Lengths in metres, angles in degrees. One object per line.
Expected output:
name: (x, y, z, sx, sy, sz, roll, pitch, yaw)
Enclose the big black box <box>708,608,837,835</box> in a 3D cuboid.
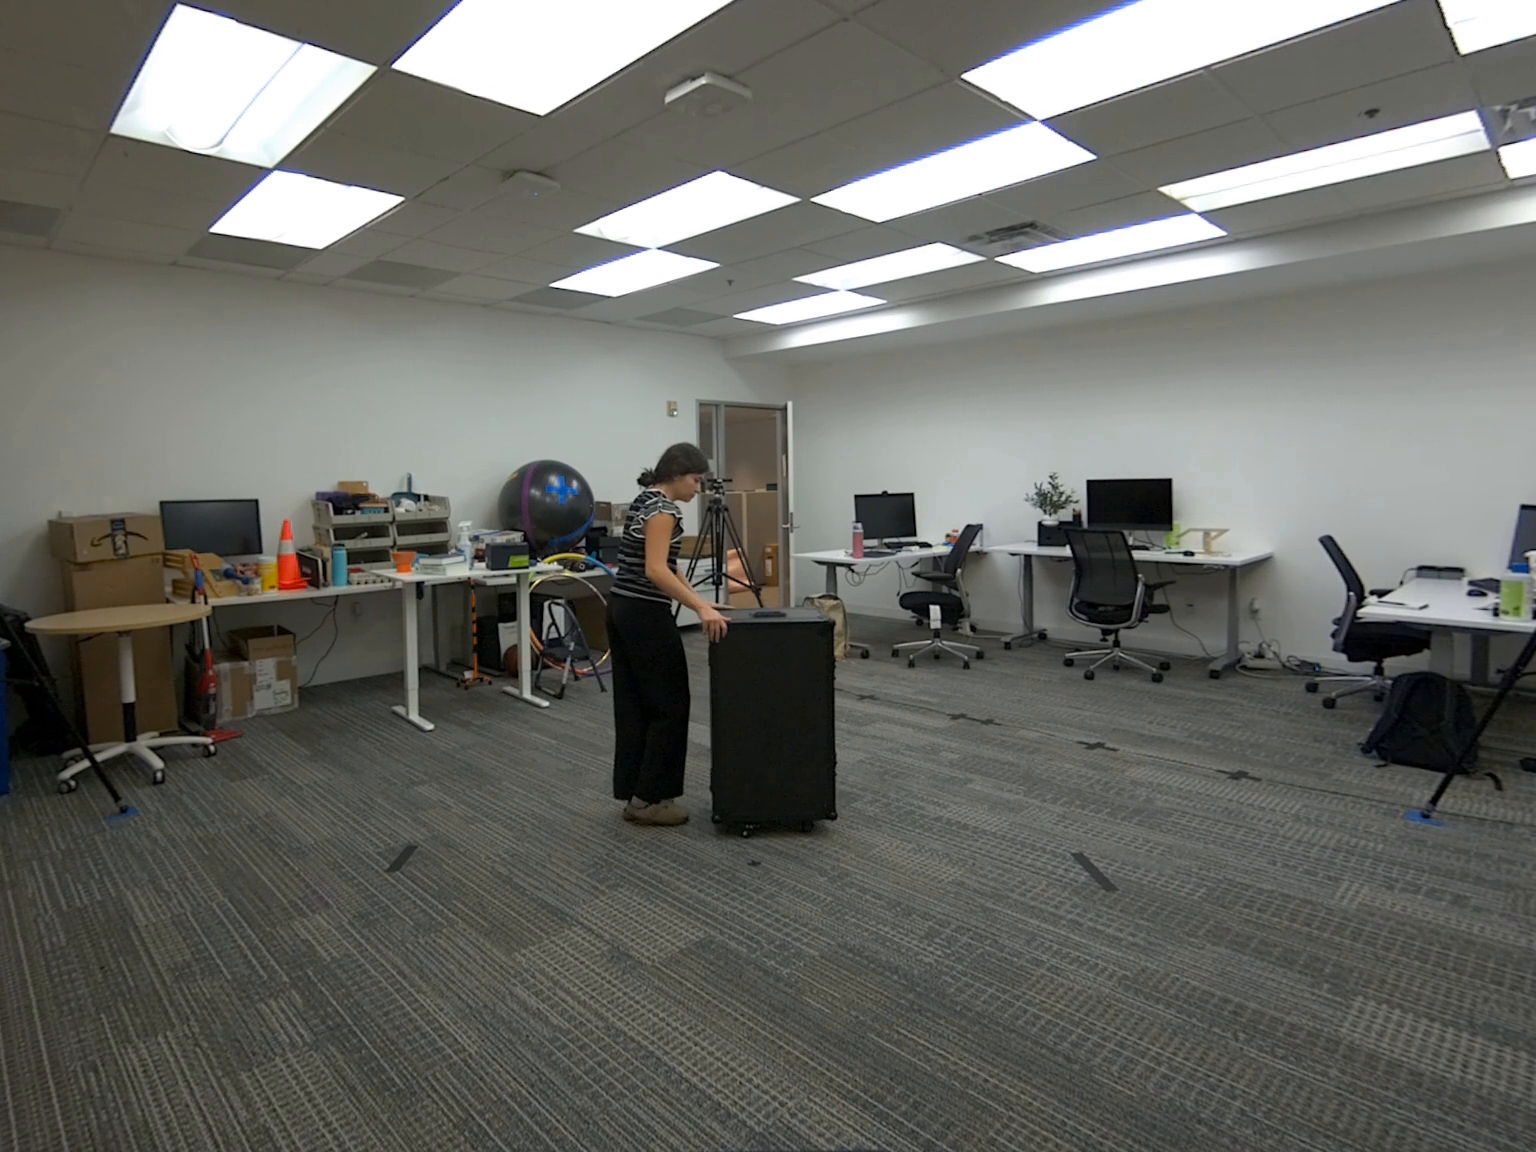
big black box: (0.002, 0.580, 3.468, 0.520, 0.859, 0.399, -1, 4, -3)
